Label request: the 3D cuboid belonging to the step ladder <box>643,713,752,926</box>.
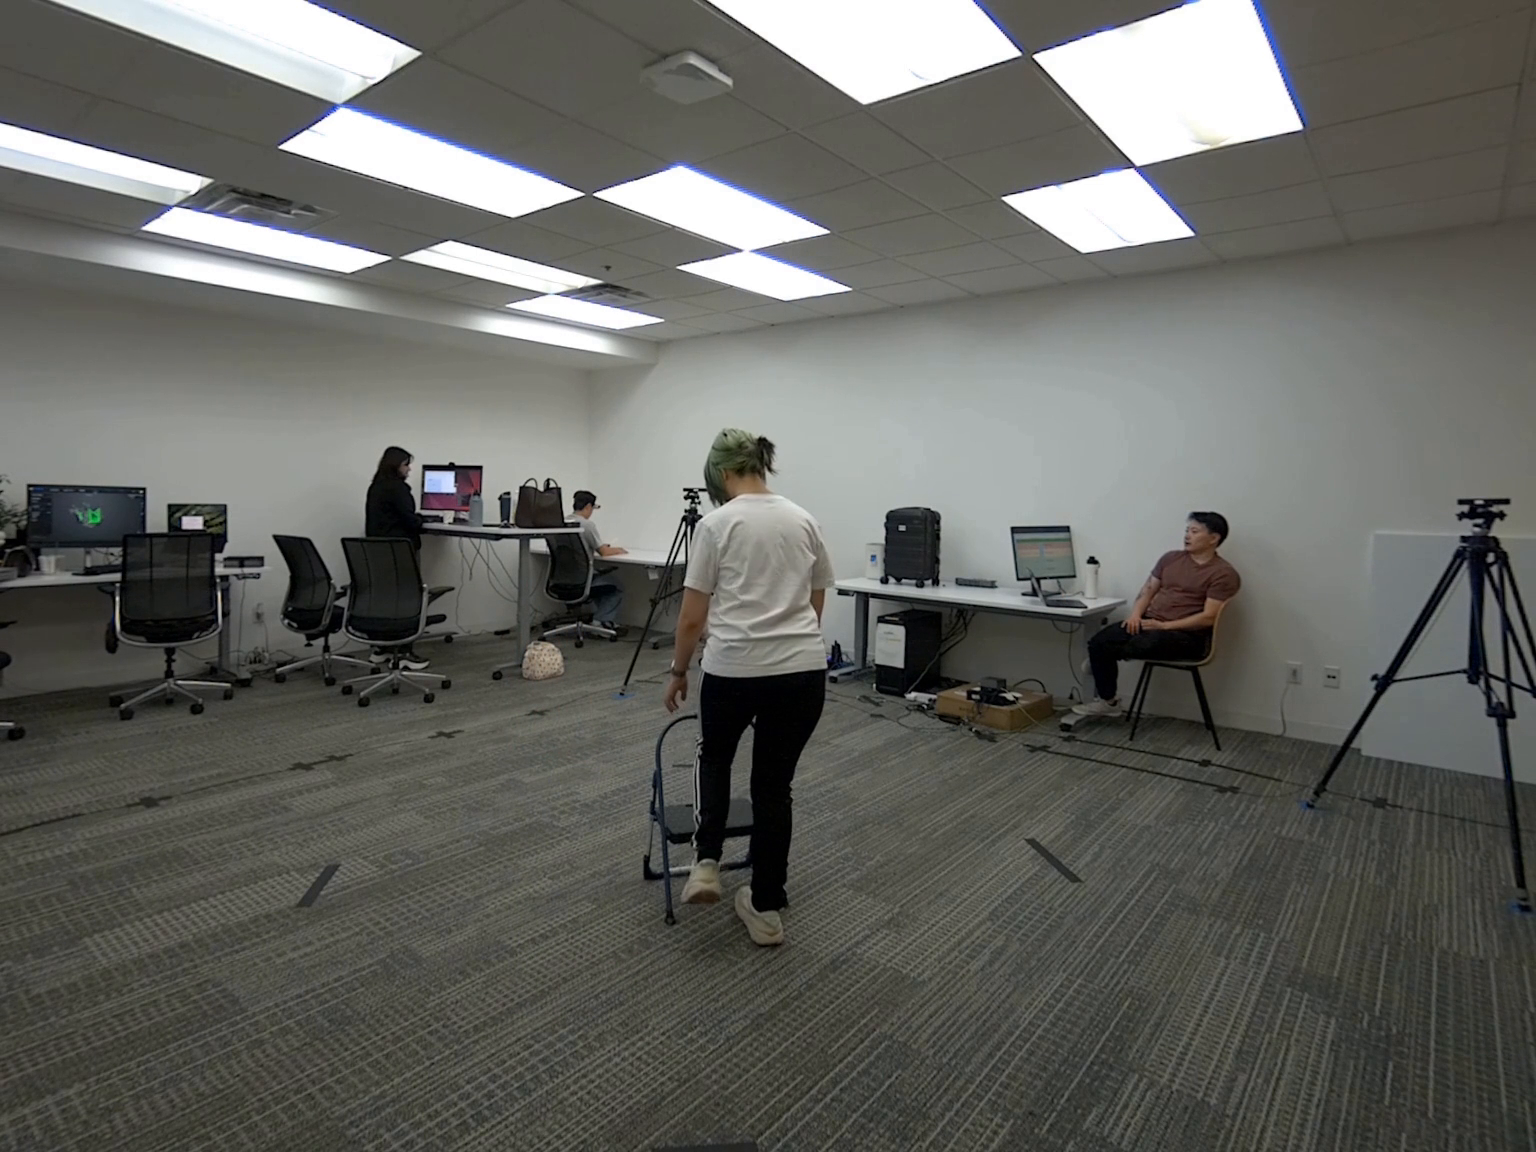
[{"bbox_3d":[-0.196,0.788,2.922,0.421,0.605,0.358,0,3,-22],"label":"step ladder"}]
